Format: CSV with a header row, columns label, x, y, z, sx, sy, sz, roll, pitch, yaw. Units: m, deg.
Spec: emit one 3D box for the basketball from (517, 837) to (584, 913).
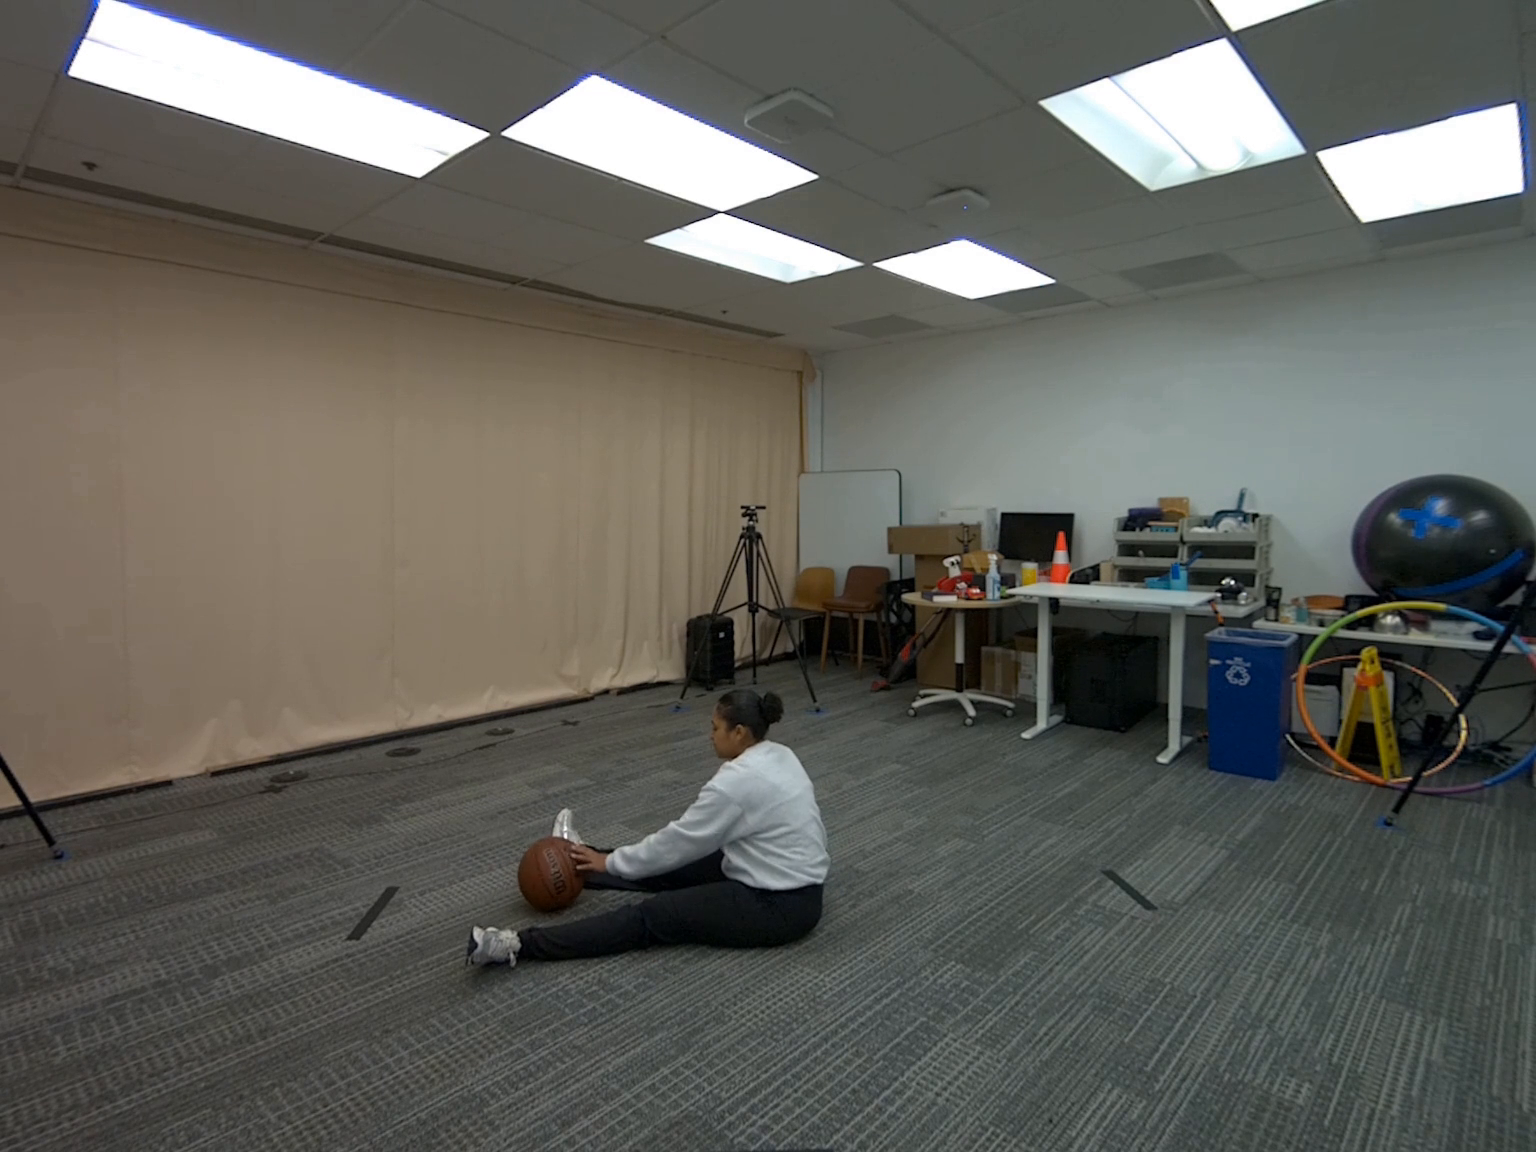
label,x,y,z,sx,sy,sz,roll,pitch,yaw
basketball,-0.749,1.037,2.930,0.236,0.235,0.237,0,4,-2
